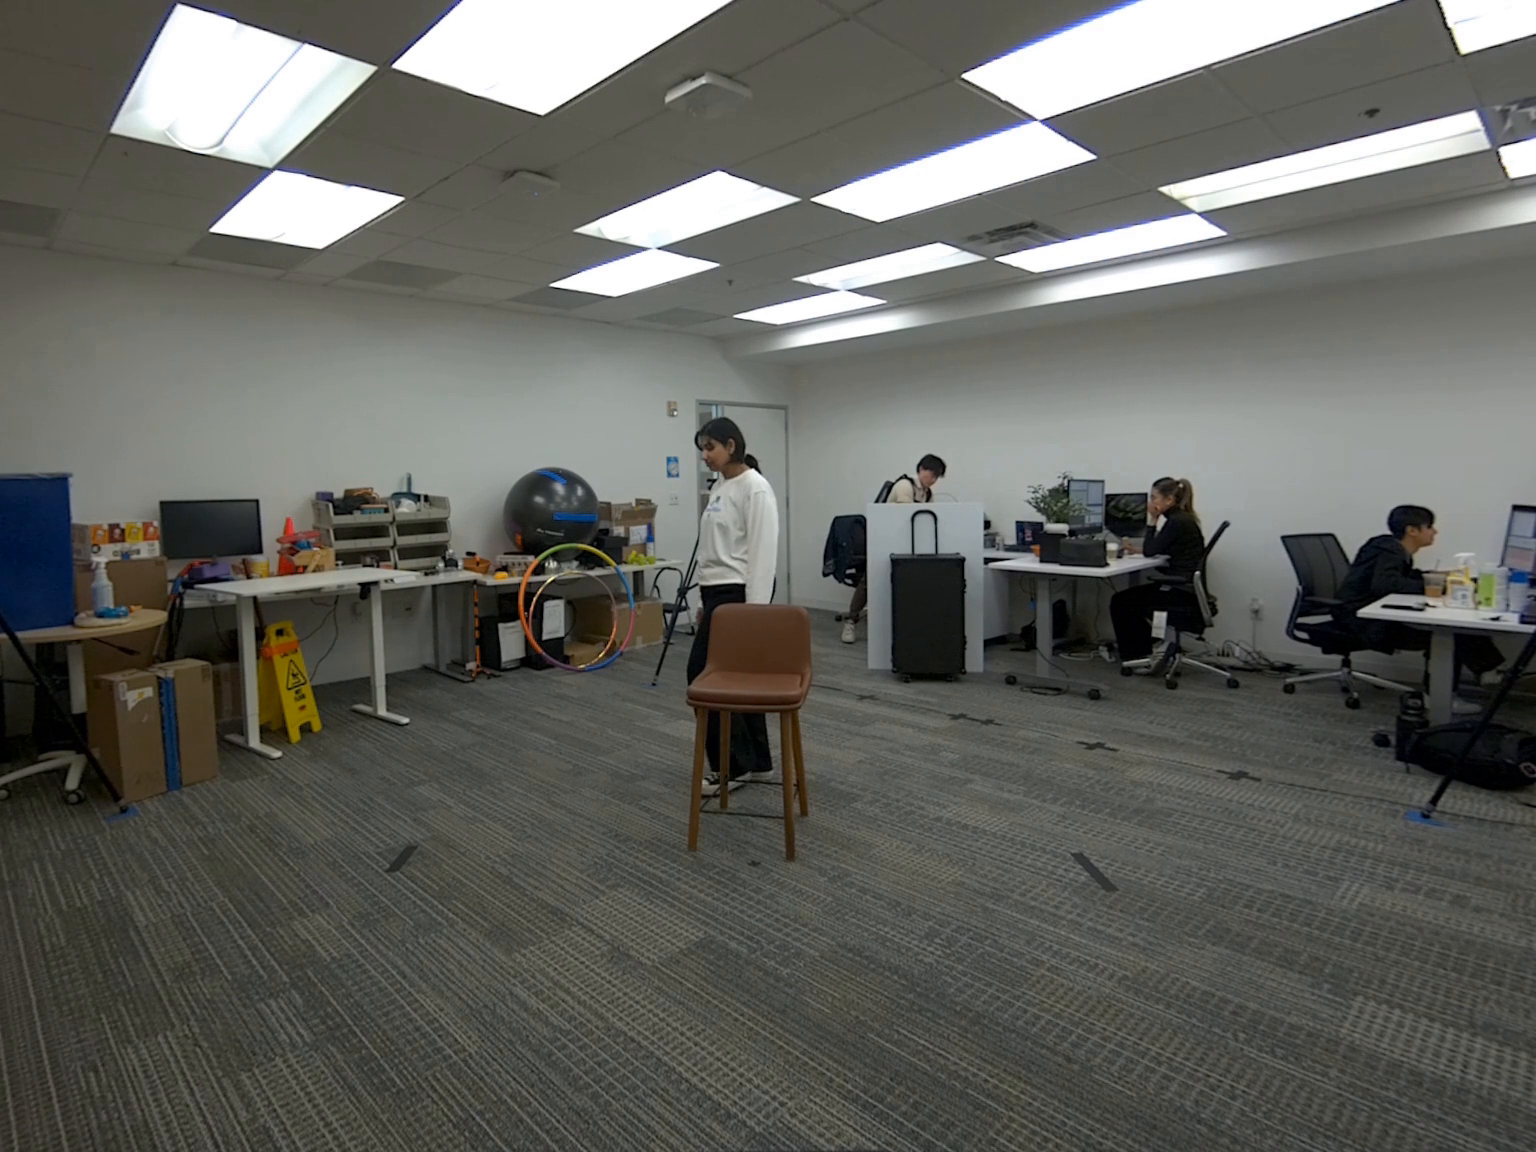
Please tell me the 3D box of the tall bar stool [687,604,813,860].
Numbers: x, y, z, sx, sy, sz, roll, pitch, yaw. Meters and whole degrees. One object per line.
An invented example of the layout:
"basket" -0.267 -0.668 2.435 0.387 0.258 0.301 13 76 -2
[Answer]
"tall bar stool" -0.066 0.580 3.372 0.463 0.889 0.462 0 2 14
